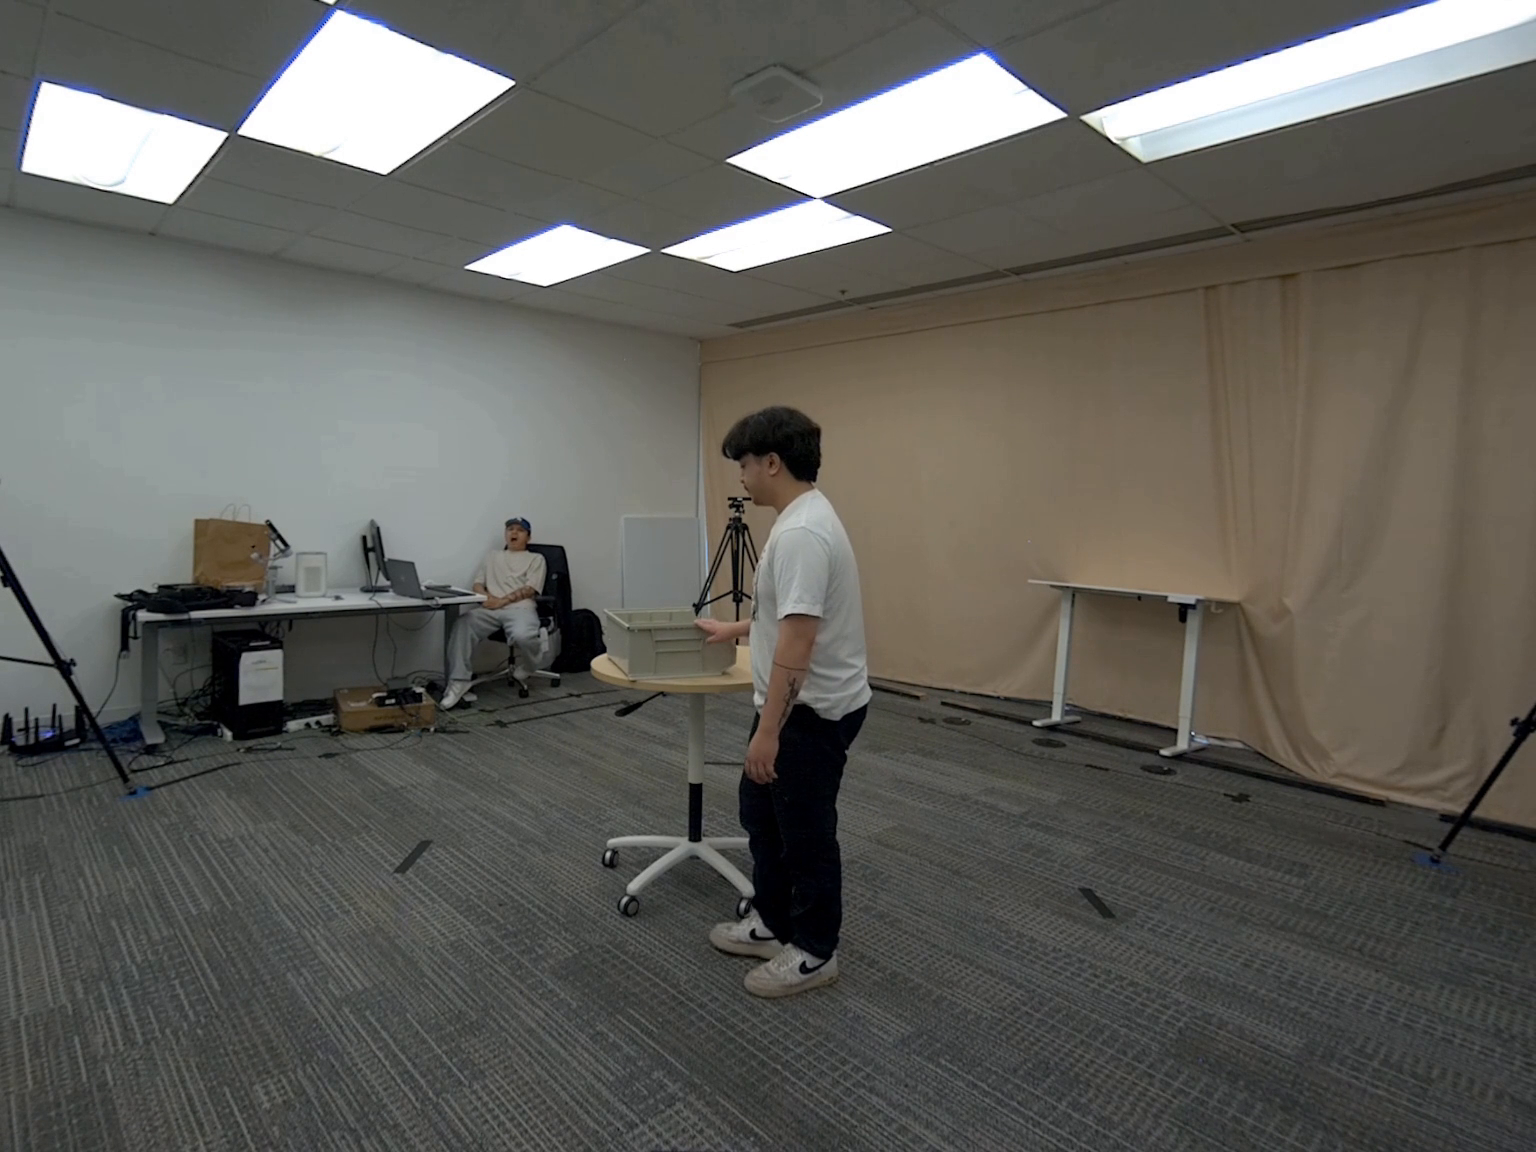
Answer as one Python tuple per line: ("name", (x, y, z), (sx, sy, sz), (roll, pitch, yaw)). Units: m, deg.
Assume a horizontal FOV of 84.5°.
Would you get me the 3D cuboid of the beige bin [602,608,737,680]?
("beige bin", (-0.360, 0.232, 2.953), (0.372, 0.188, 0.430), (-2, 6, -20))
